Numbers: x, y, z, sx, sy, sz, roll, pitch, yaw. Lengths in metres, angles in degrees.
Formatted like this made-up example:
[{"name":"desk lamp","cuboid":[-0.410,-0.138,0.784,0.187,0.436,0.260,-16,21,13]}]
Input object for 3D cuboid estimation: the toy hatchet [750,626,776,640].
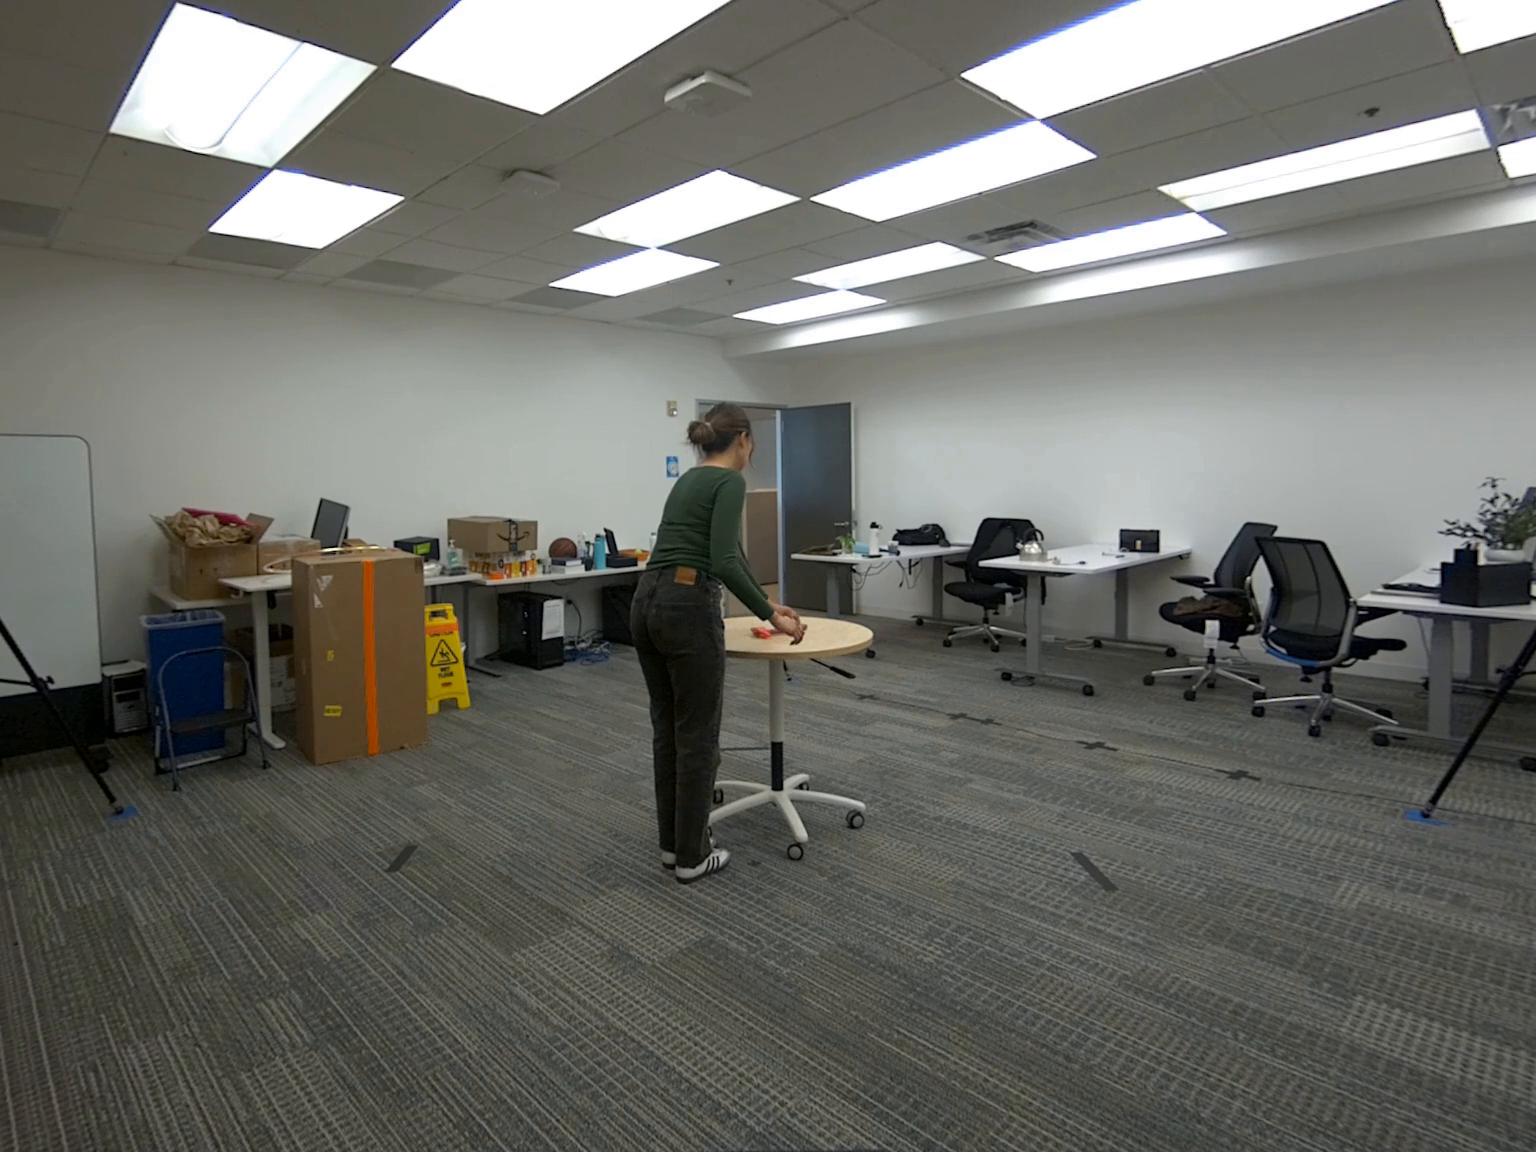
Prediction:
[{"name":"toy hatchet","cuboid":[0.044,0.212,3.400,0.135,0.029,0.263,7,9,36]}]
